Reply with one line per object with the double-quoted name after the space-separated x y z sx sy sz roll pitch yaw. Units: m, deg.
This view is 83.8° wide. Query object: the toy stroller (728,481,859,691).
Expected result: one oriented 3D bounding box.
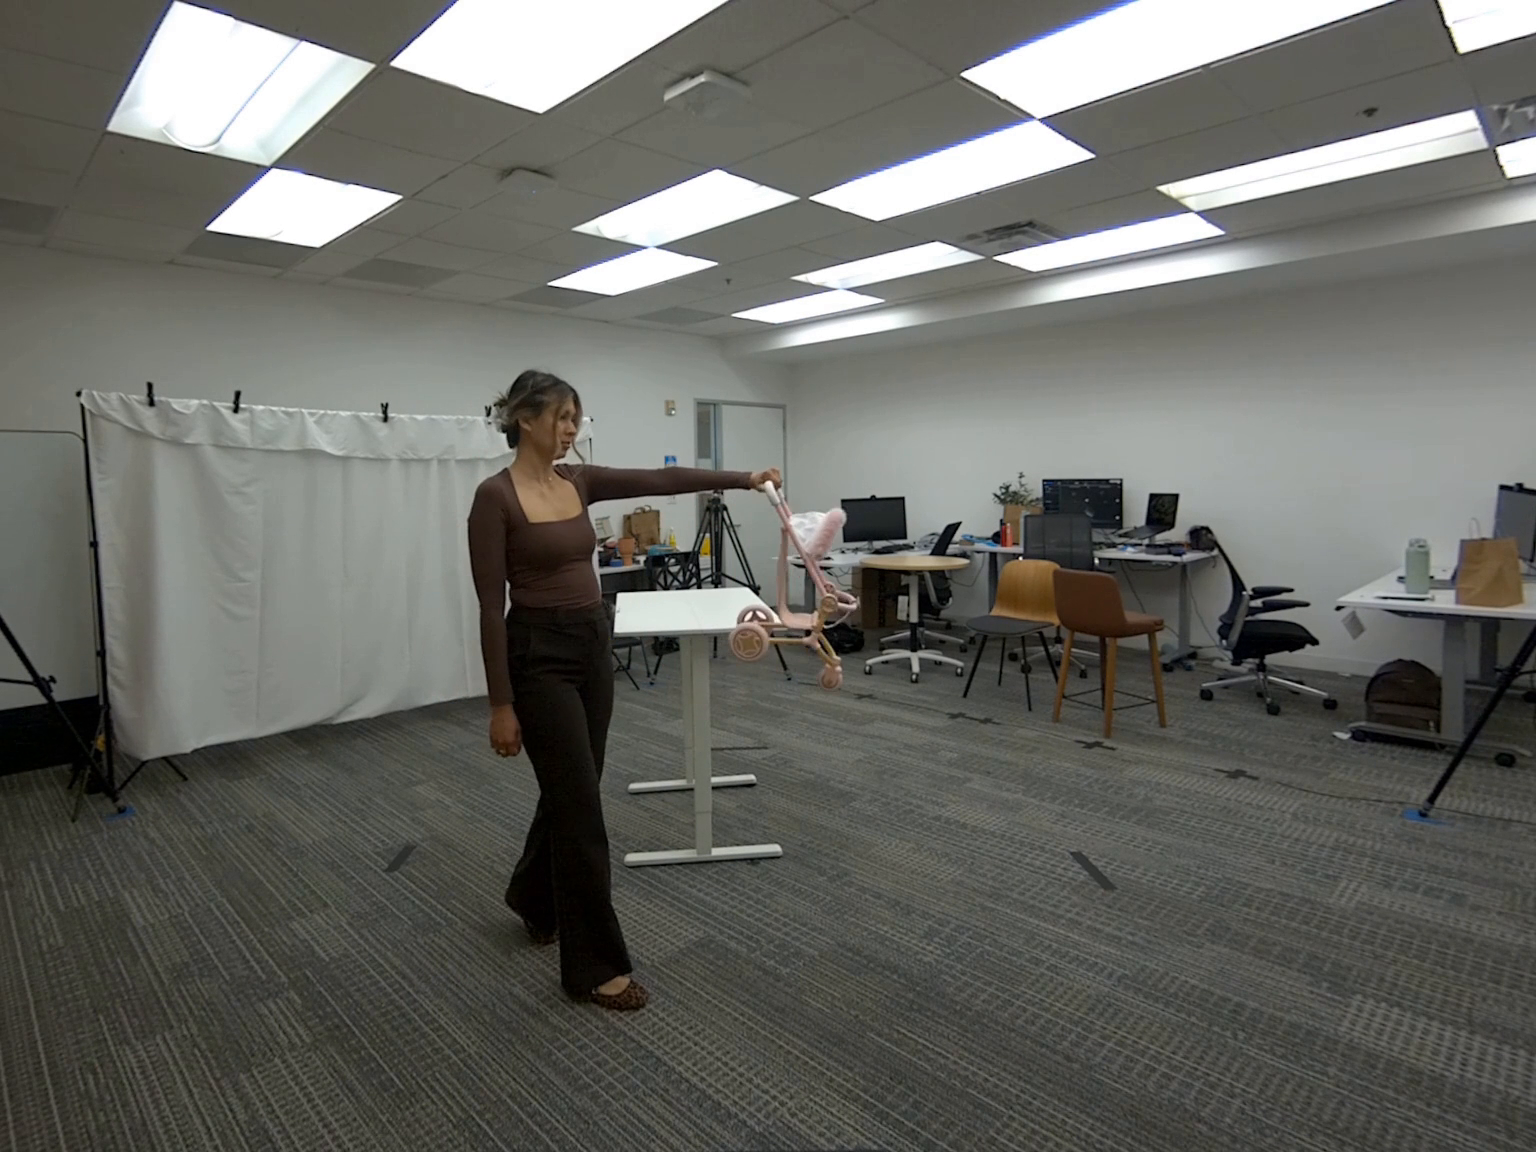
0.096 0.036 2.366 0.344 0.532 0.280 13 6 7 "toy stroller"
